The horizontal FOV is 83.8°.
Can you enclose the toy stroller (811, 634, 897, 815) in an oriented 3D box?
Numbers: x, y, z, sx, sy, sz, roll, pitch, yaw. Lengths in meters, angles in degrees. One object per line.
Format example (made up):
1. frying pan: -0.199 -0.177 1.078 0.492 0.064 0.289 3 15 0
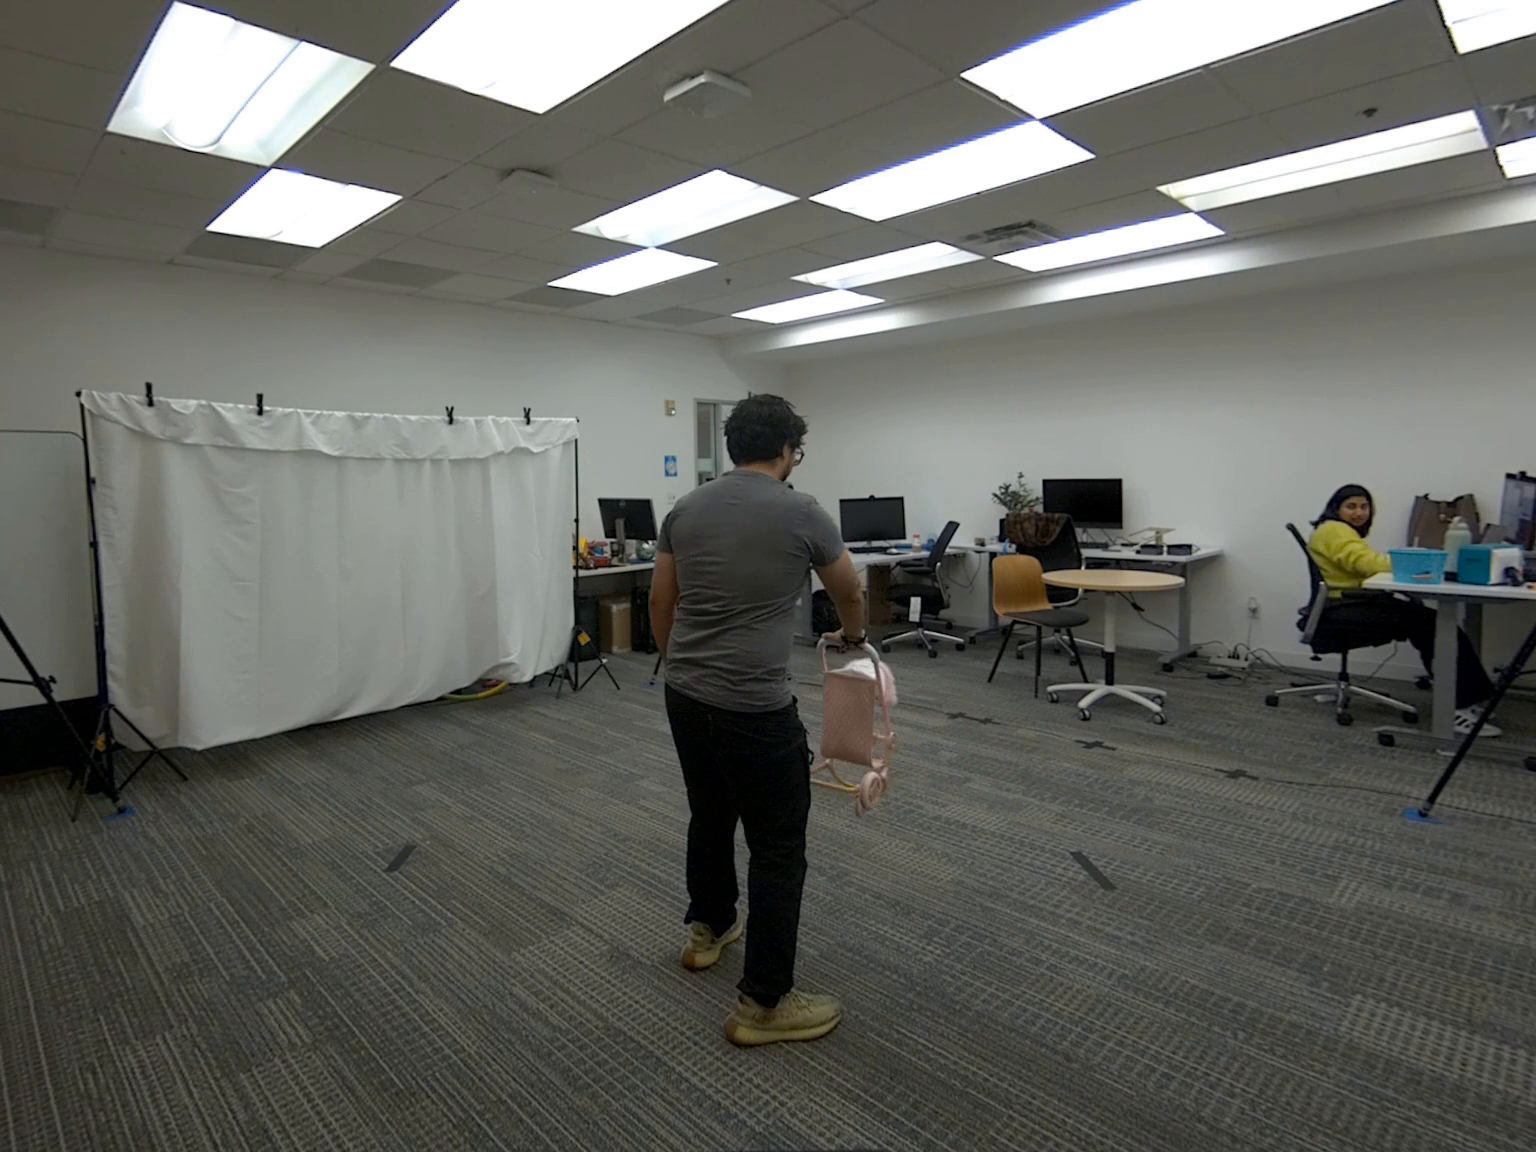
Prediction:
1. toy stroller: 0.283 0.493 2.686 0.289 0.539 0.329 1 -12 36
